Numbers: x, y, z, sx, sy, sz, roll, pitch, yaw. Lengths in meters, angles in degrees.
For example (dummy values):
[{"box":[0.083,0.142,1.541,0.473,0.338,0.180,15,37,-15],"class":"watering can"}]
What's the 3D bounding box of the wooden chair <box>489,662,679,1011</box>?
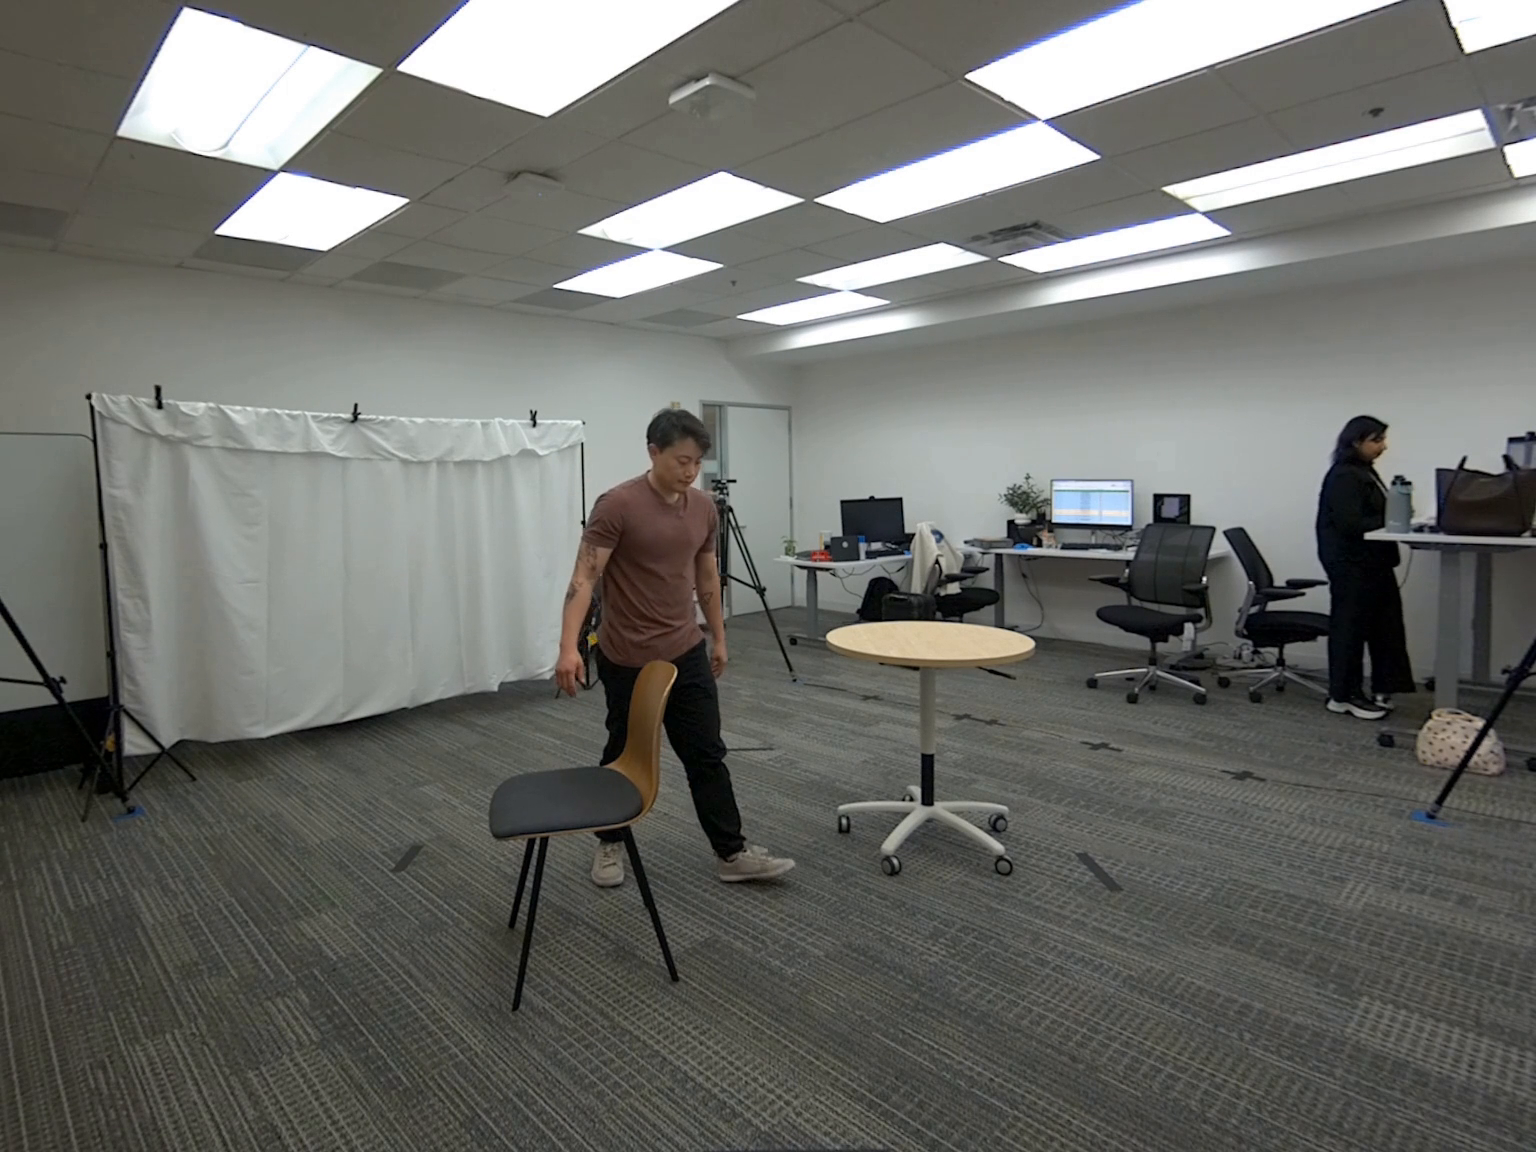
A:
[{"box":[-0.548,0.702,2.510,0.514,0.875,0.487,2,3,-18],"class":"wooden chair"}]
